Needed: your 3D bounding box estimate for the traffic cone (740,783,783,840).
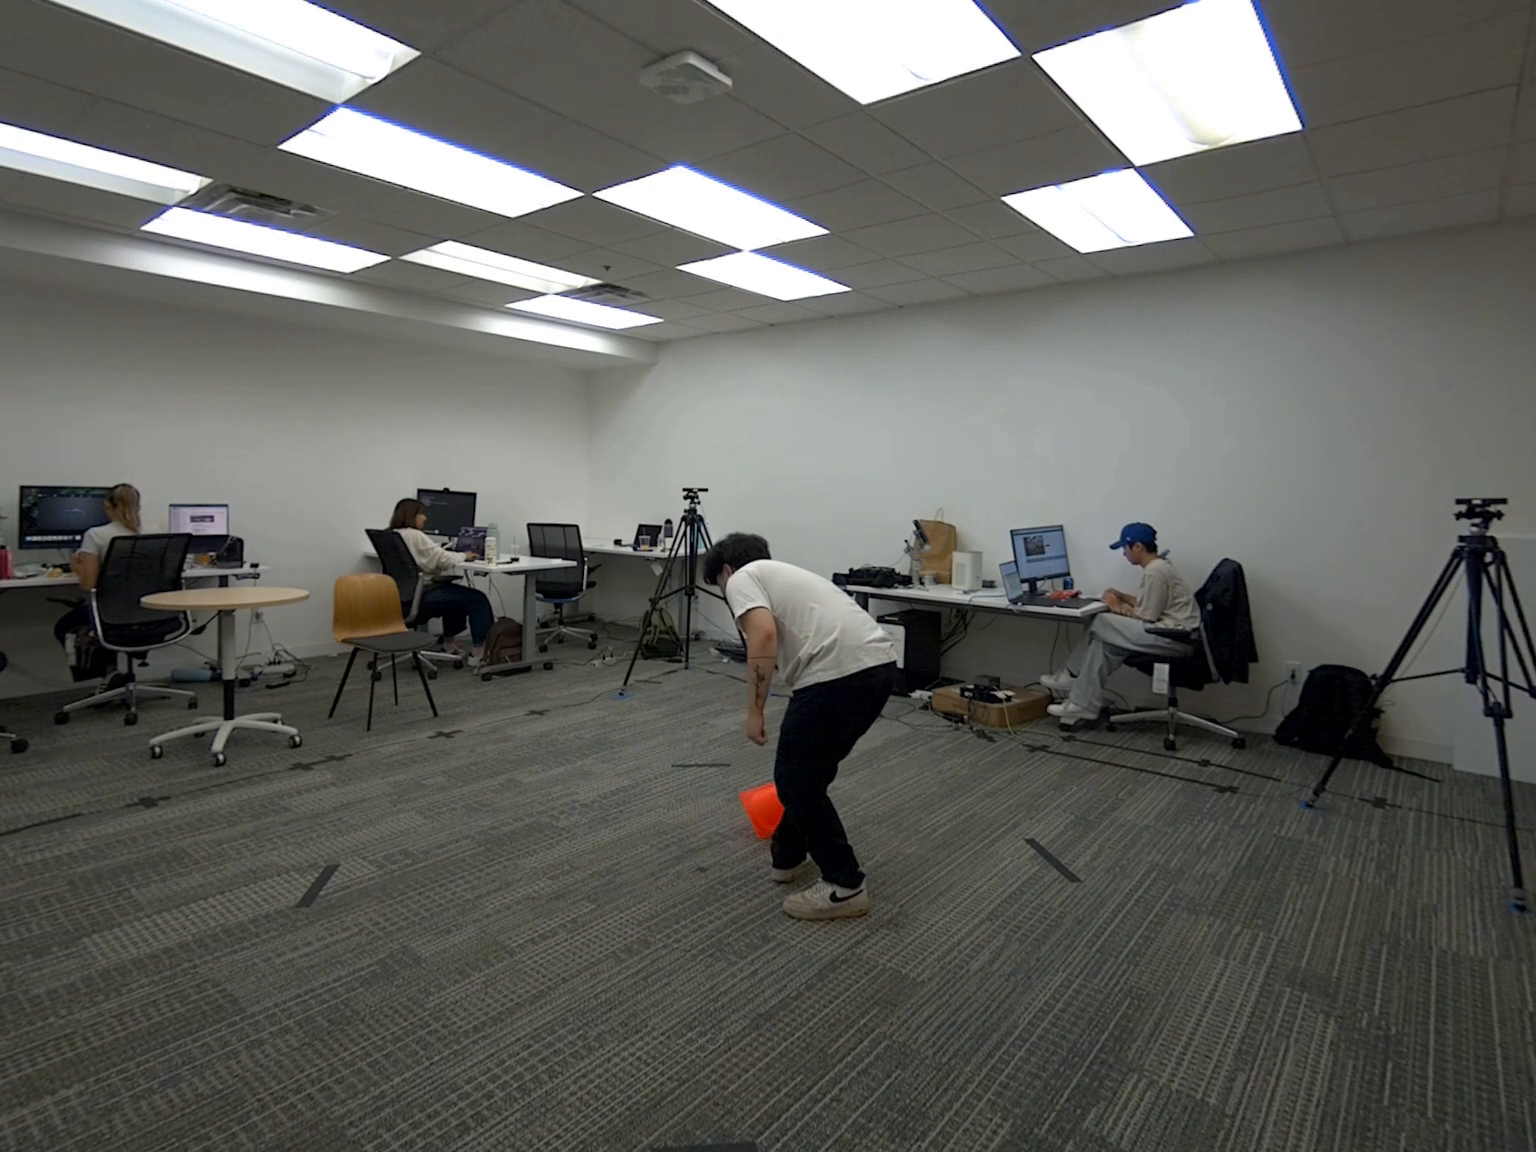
[{"bbox_3d":[0.091,0.855,3.370,0.200,0.209,0.383,-11,-28,-44],"label":"traffic cone"}]
